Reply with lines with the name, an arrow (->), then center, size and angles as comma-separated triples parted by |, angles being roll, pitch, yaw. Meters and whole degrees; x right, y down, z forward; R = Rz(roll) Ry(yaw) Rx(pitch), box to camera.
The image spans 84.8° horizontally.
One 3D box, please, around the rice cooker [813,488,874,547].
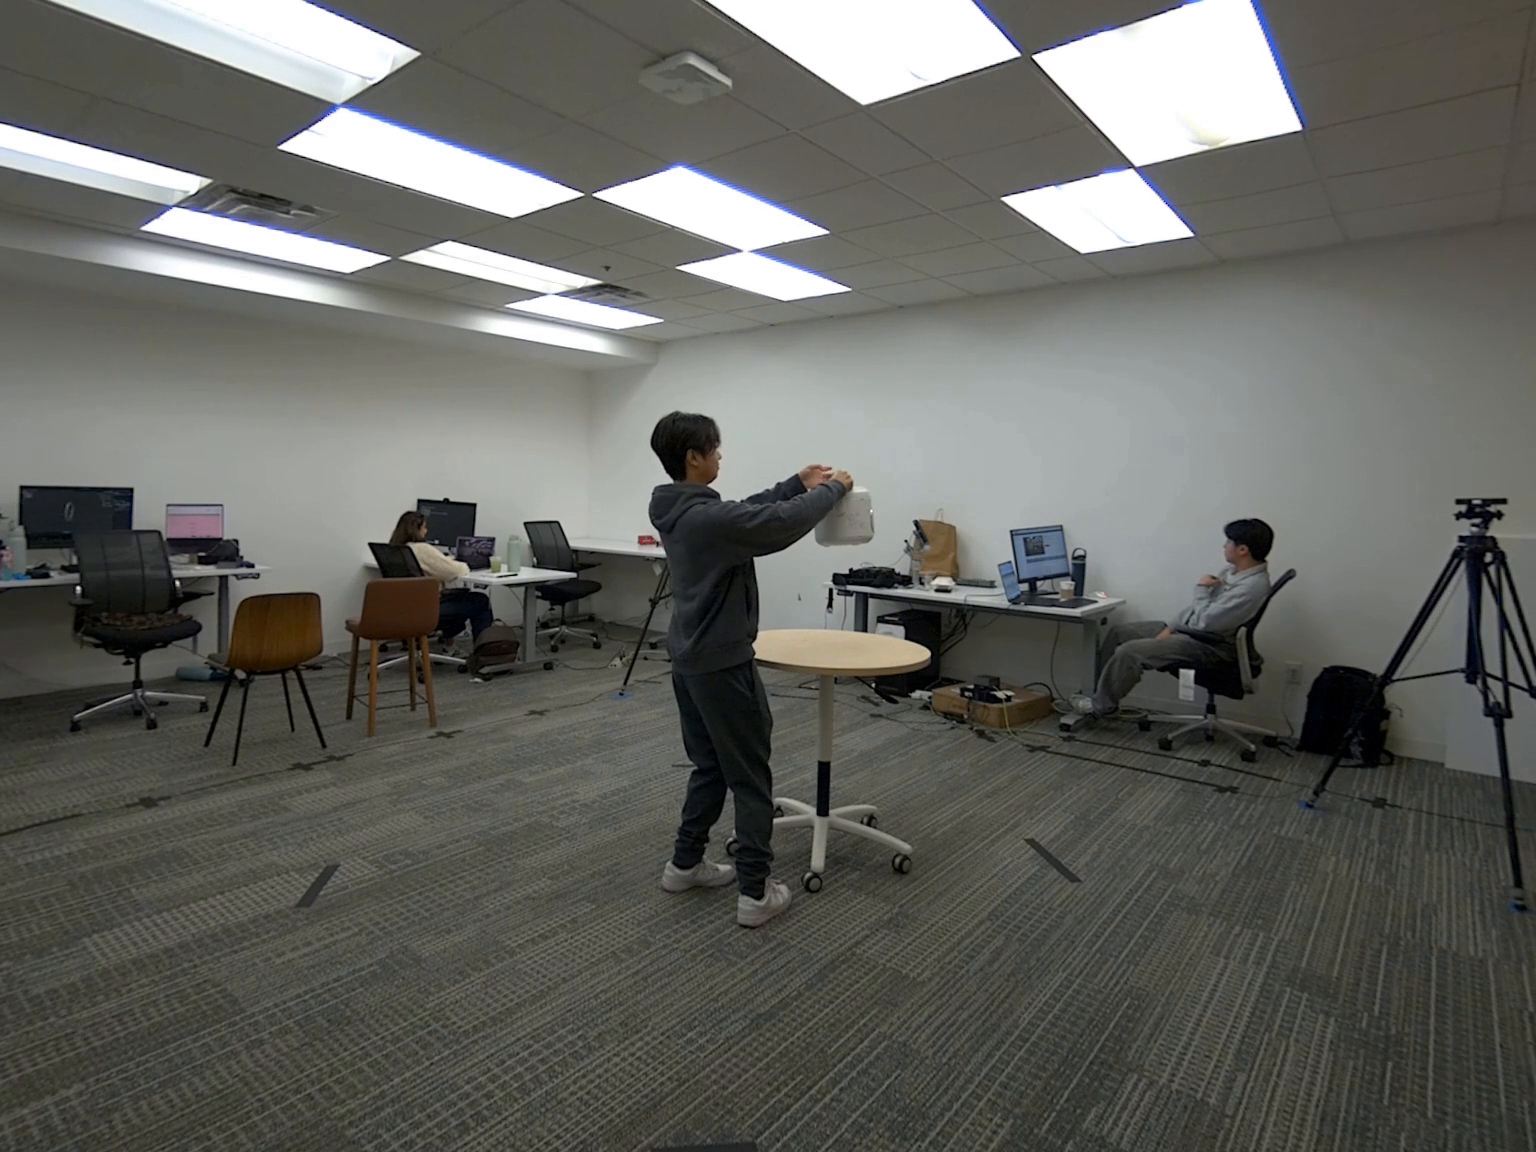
rice cooker -> 0.260, -0.231, 3.092 | 0.221, 0.232, 0.218 | -4, 3, 15
